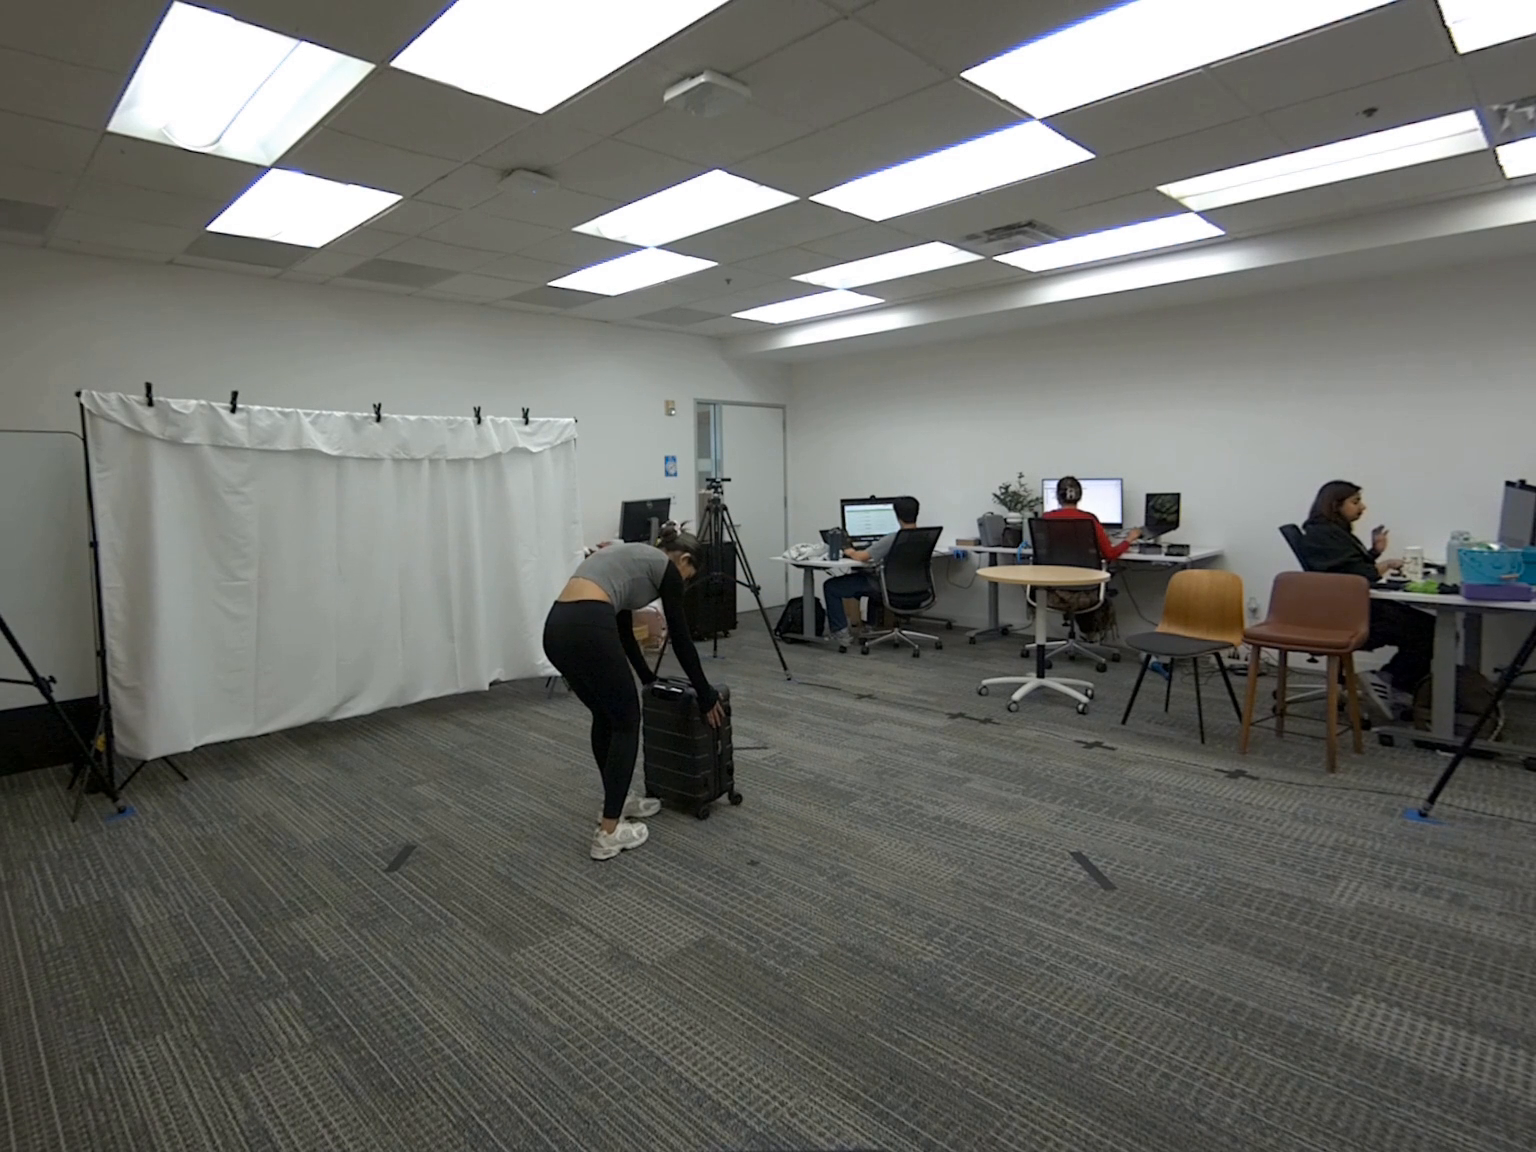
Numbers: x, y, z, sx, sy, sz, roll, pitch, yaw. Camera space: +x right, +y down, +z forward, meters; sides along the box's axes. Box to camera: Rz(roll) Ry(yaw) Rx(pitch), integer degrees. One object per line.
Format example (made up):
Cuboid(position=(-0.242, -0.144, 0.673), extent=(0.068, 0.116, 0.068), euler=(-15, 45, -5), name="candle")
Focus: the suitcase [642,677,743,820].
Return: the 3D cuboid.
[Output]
Cuboid(position=(-0.341, 0.712, 3.676), extent=(0.386, 0.547, 0.242), euler=(1, 5, 40), name="suitcase")
